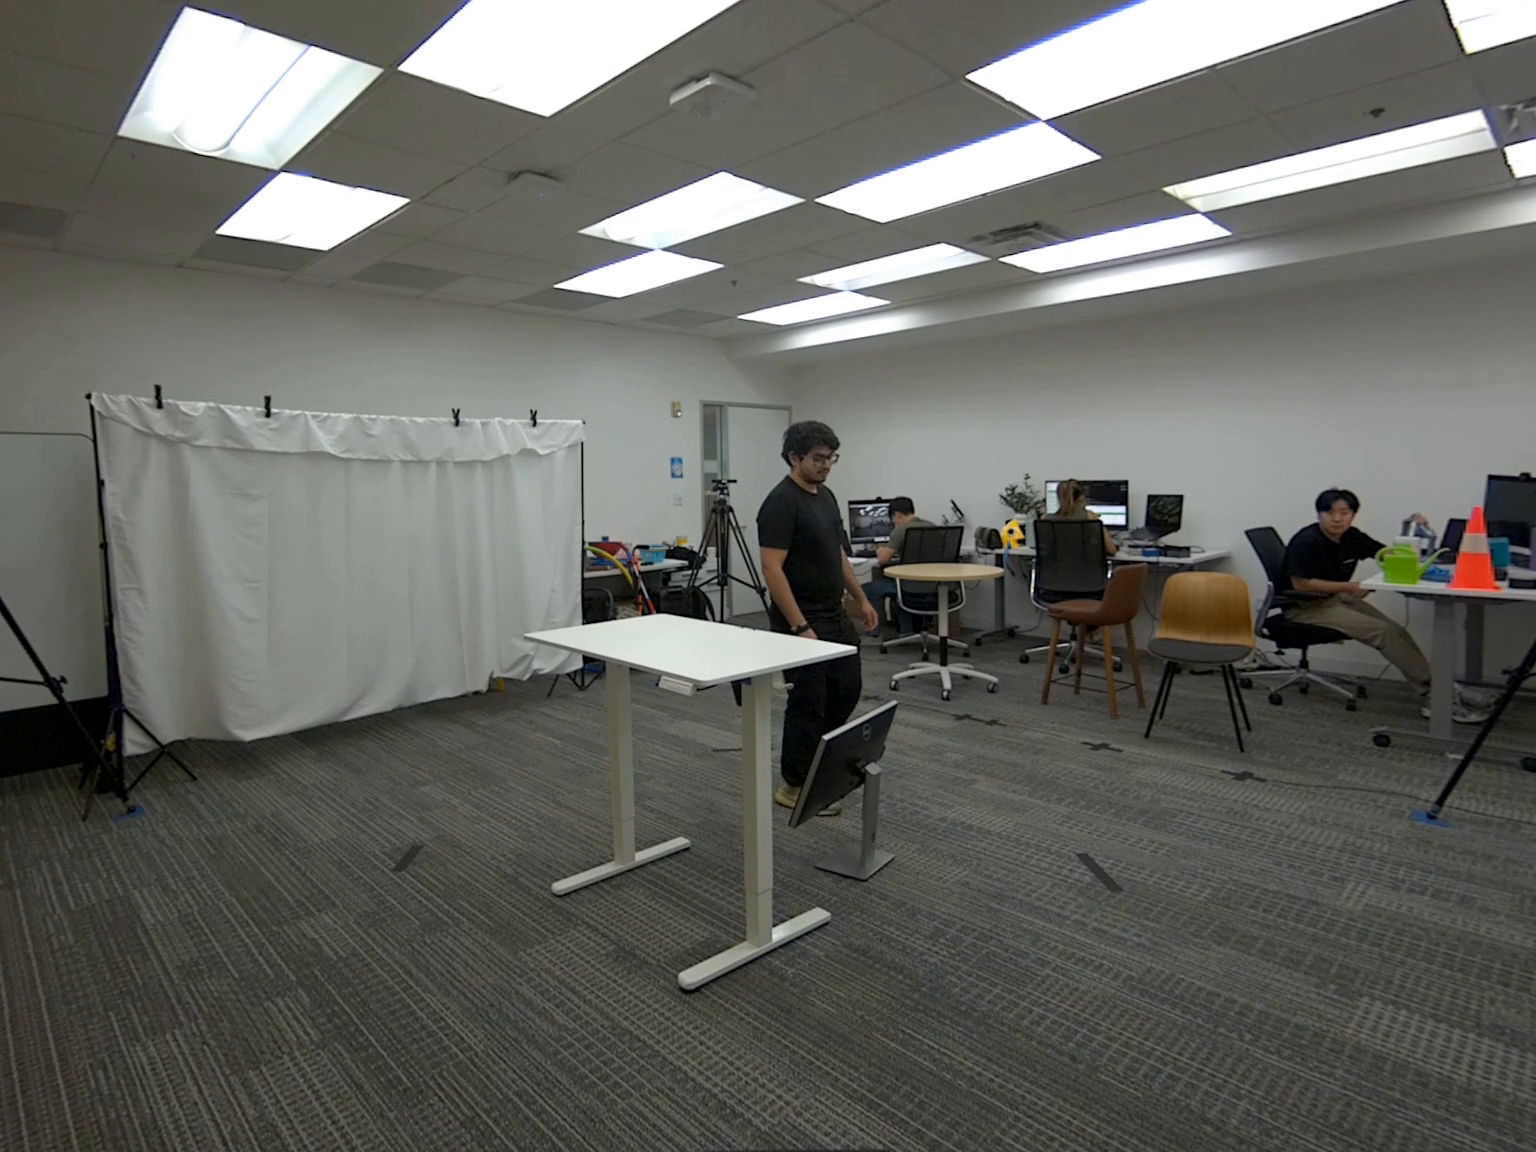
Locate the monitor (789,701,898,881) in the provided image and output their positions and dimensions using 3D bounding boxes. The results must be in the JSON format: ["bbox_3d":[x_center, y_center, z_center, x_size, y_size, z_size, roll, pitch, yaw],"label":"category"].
[{"bbox_3d":[0.341,0.783,3.072,0.217,0.549,0.552,14,13,32],"label":"monitor"}]
